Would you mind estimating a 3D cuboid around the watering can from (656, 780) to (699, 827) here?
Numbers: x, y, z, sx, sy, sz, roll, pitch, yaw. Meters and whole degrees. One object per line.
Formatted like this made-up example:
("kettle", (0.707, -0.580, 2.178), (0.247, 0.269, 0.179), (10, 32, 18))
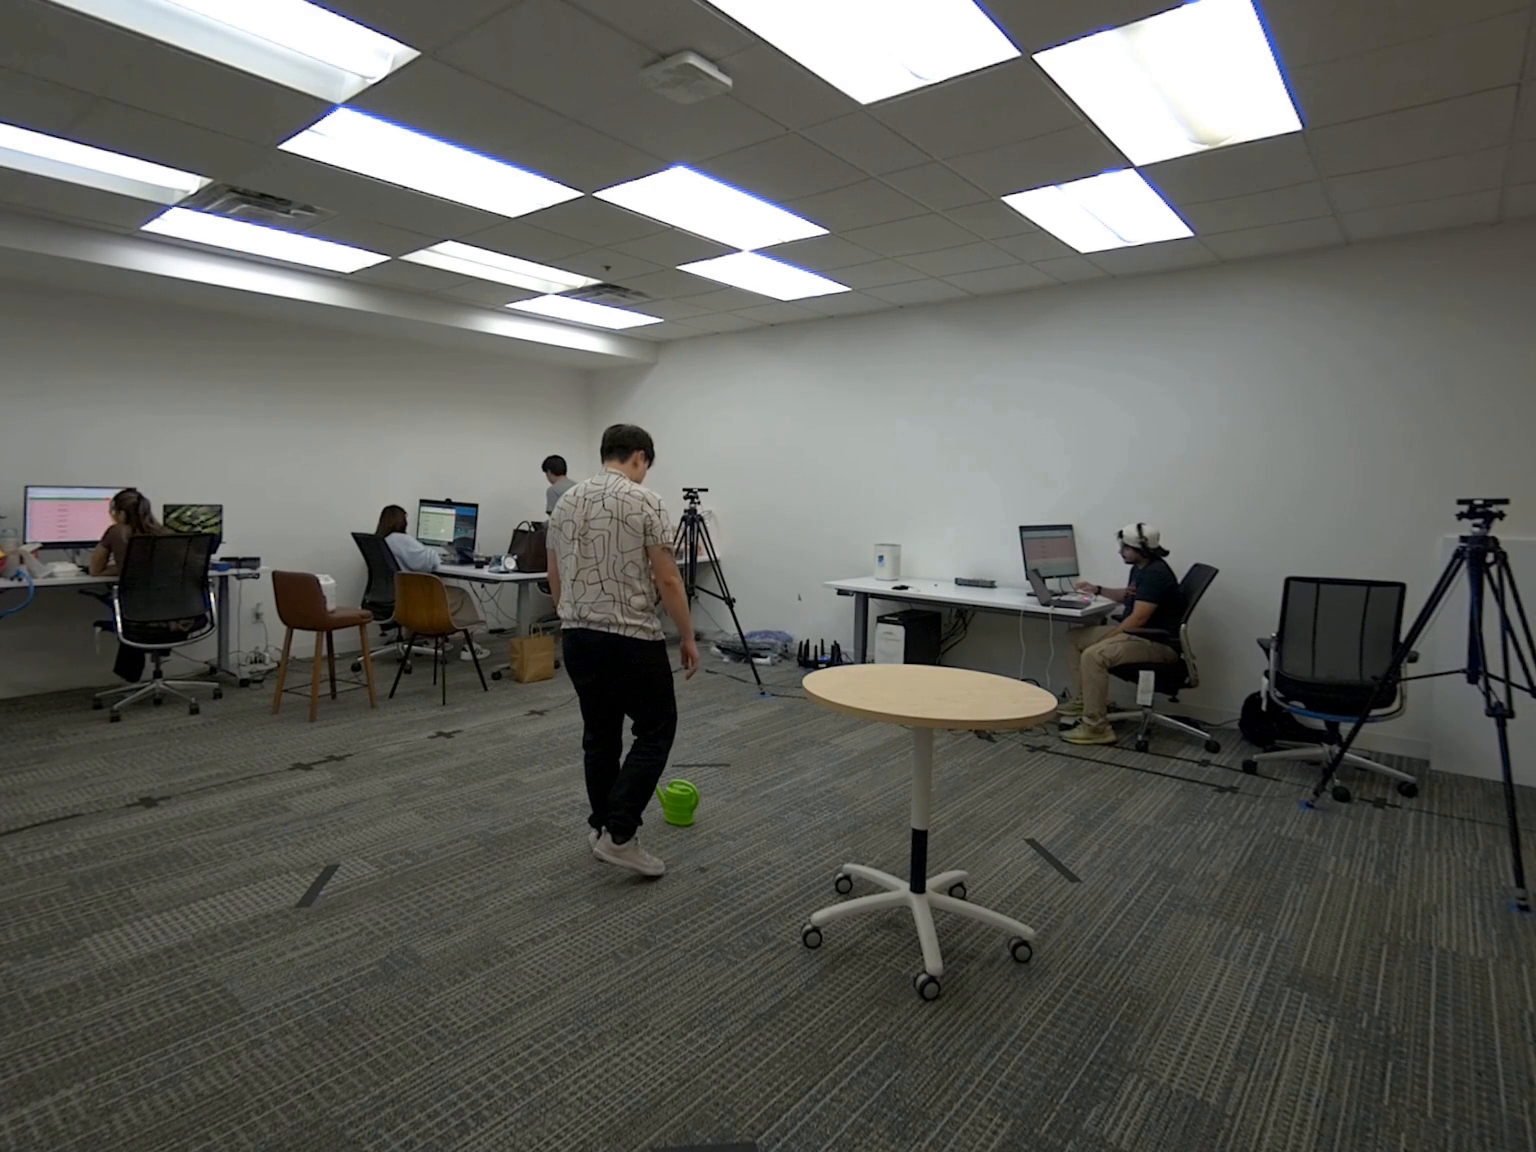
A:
("watering can", (-0.416, 0.927, 3.583), (0.288, 0.176, 0.095), (7, 8, 42))
